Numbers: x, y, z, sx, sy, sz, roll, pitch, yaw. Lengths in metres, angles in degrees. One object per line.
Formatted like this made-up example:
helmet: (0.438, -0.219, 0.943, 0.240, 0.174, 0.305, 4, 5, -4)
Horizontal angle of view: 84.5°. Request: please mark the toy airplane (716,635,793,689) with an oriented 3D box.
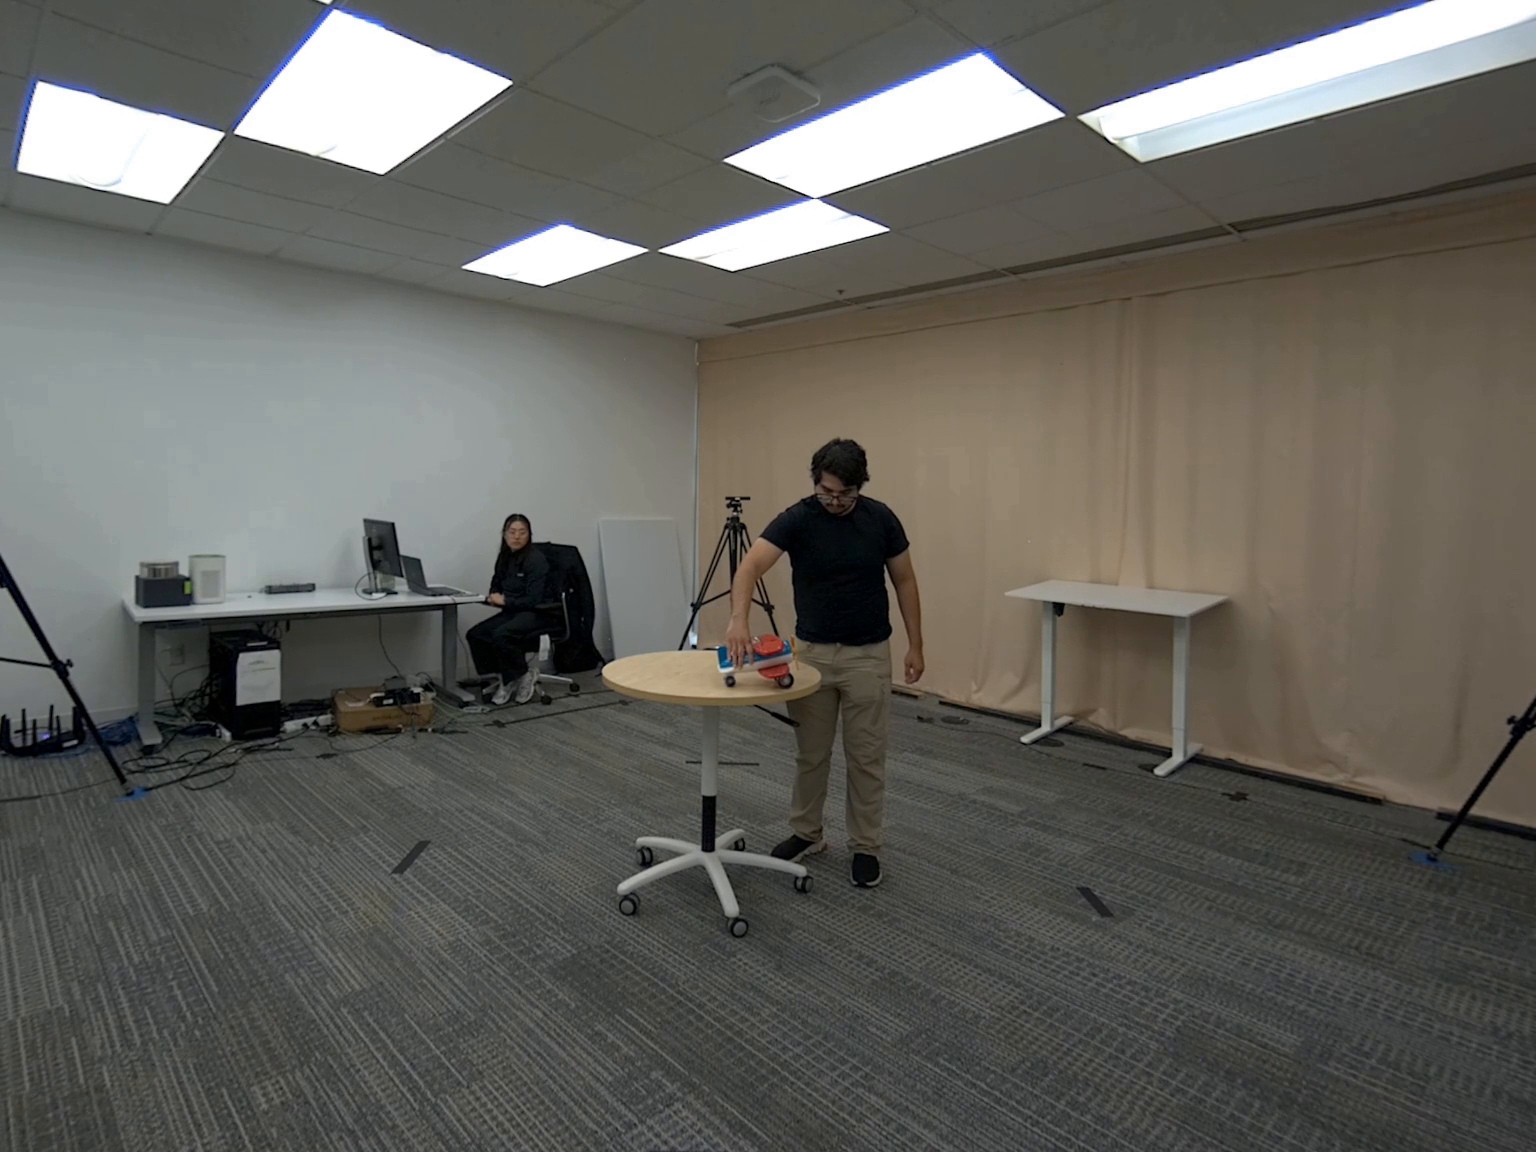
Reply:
toy airplane: (-0.038, 0.286, 2.731, 0.254, 0.156, 0.257, -1, 7, -33)
